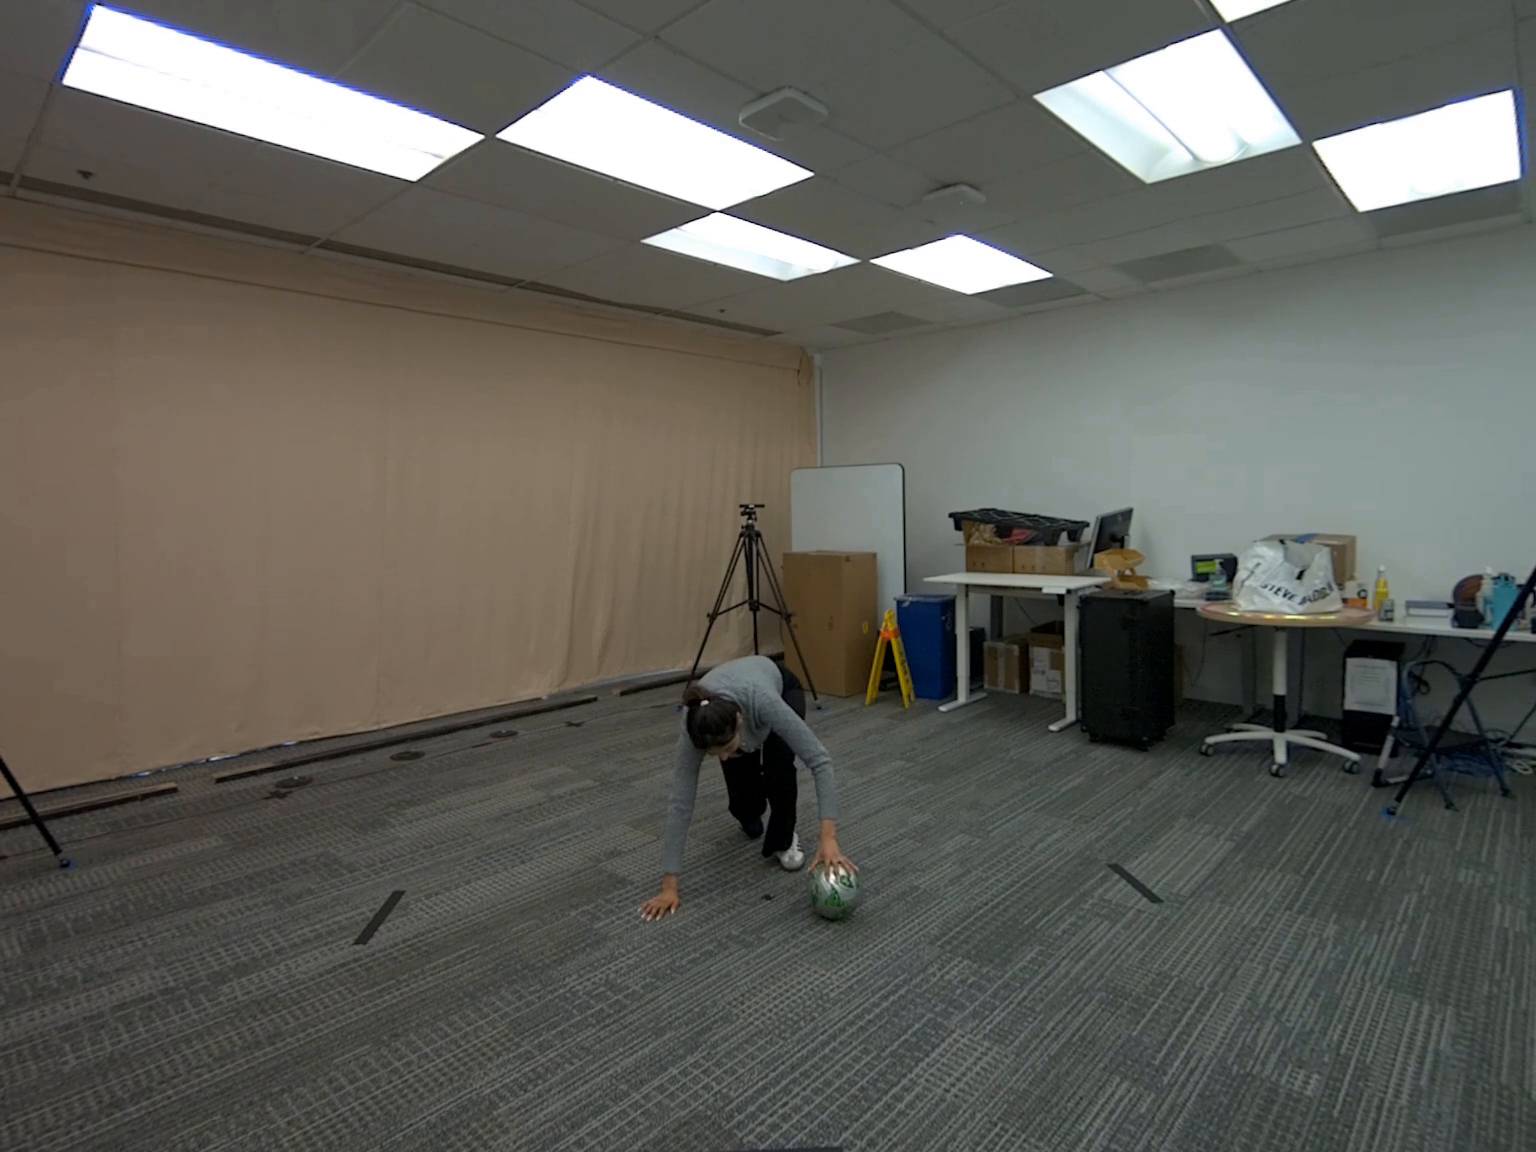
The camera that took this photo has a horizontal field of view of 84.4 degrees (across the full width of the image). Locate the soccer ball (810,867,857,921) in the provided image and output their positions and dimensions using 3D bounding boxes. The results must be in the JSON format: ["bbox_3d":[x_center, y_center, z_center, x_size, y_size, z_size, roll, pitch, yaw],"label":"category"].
[{"bbox_3d":[0.227,1.052,2.838,0.187,0.187,0.188,-1,4,-2],"label":"soccer ball"}]
